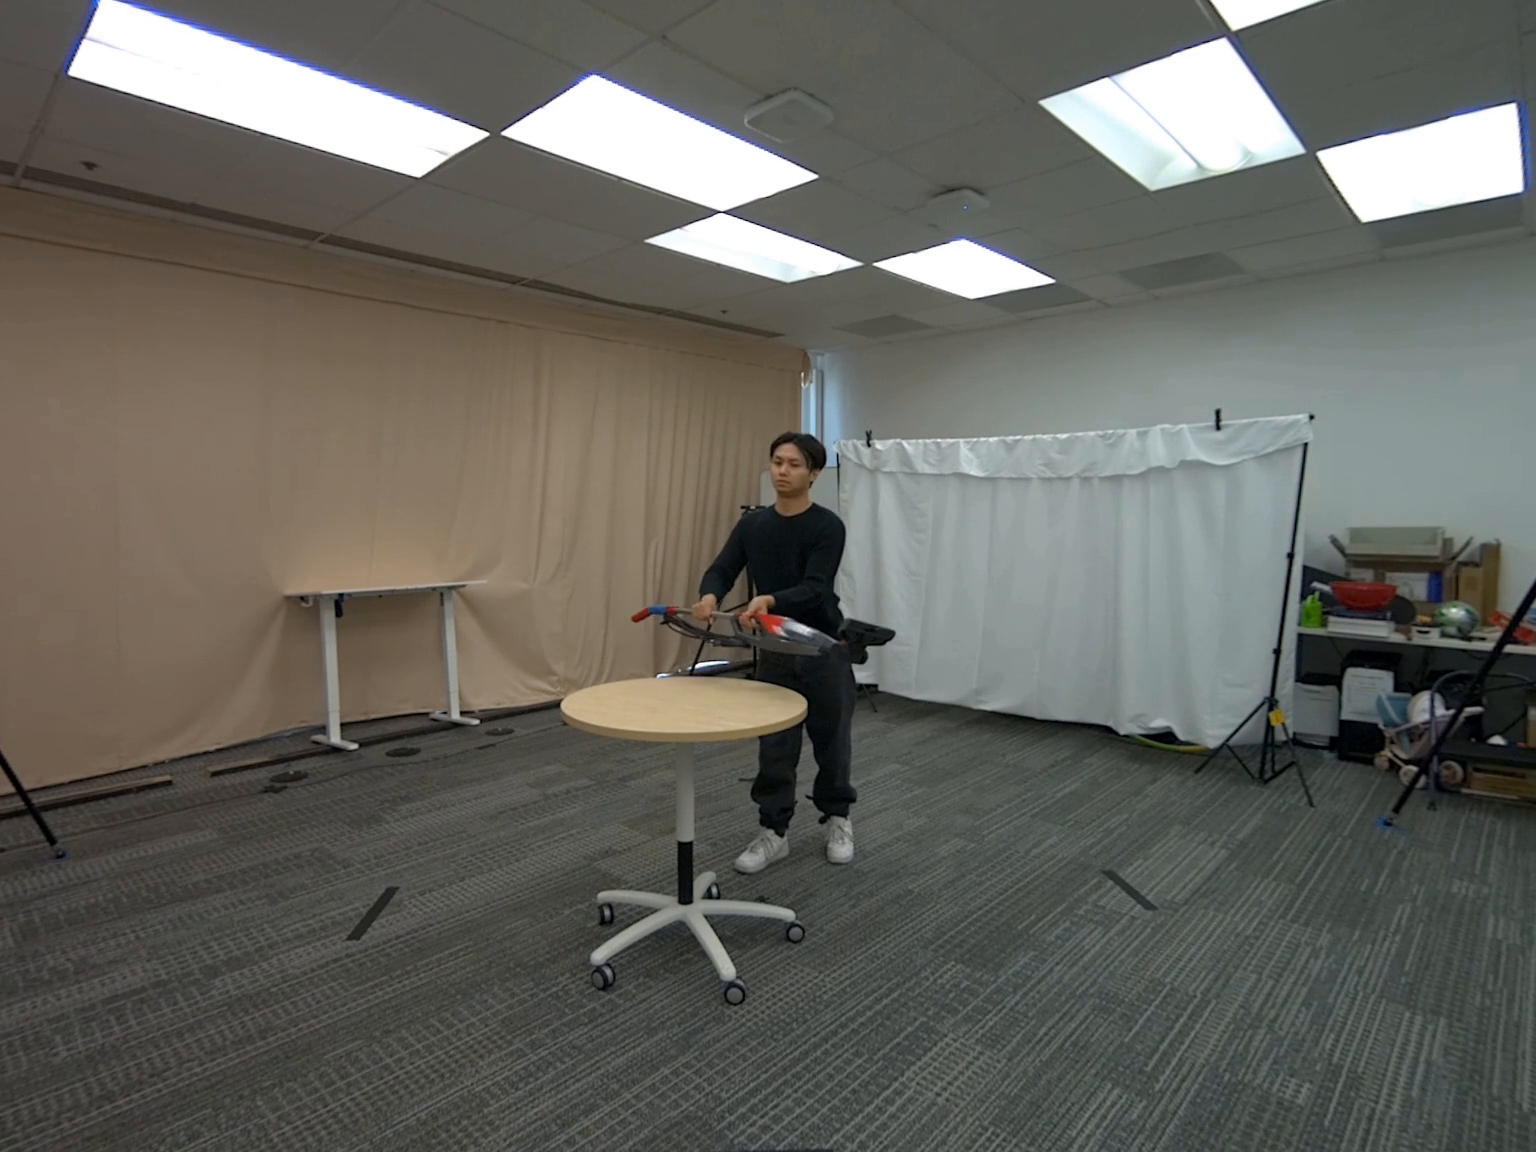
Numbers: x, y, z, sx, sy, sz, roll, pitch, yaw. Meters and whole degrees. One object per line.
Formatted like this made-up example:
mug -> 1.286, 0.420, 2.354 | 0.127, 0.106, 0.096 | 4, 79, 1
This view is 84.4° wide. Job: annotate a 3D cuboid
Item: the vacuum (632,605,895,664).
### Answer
vacuum -> -0.120, 0.189, 2.896 | 1.084, 0.144, 0.243 | 3, -8, 42
